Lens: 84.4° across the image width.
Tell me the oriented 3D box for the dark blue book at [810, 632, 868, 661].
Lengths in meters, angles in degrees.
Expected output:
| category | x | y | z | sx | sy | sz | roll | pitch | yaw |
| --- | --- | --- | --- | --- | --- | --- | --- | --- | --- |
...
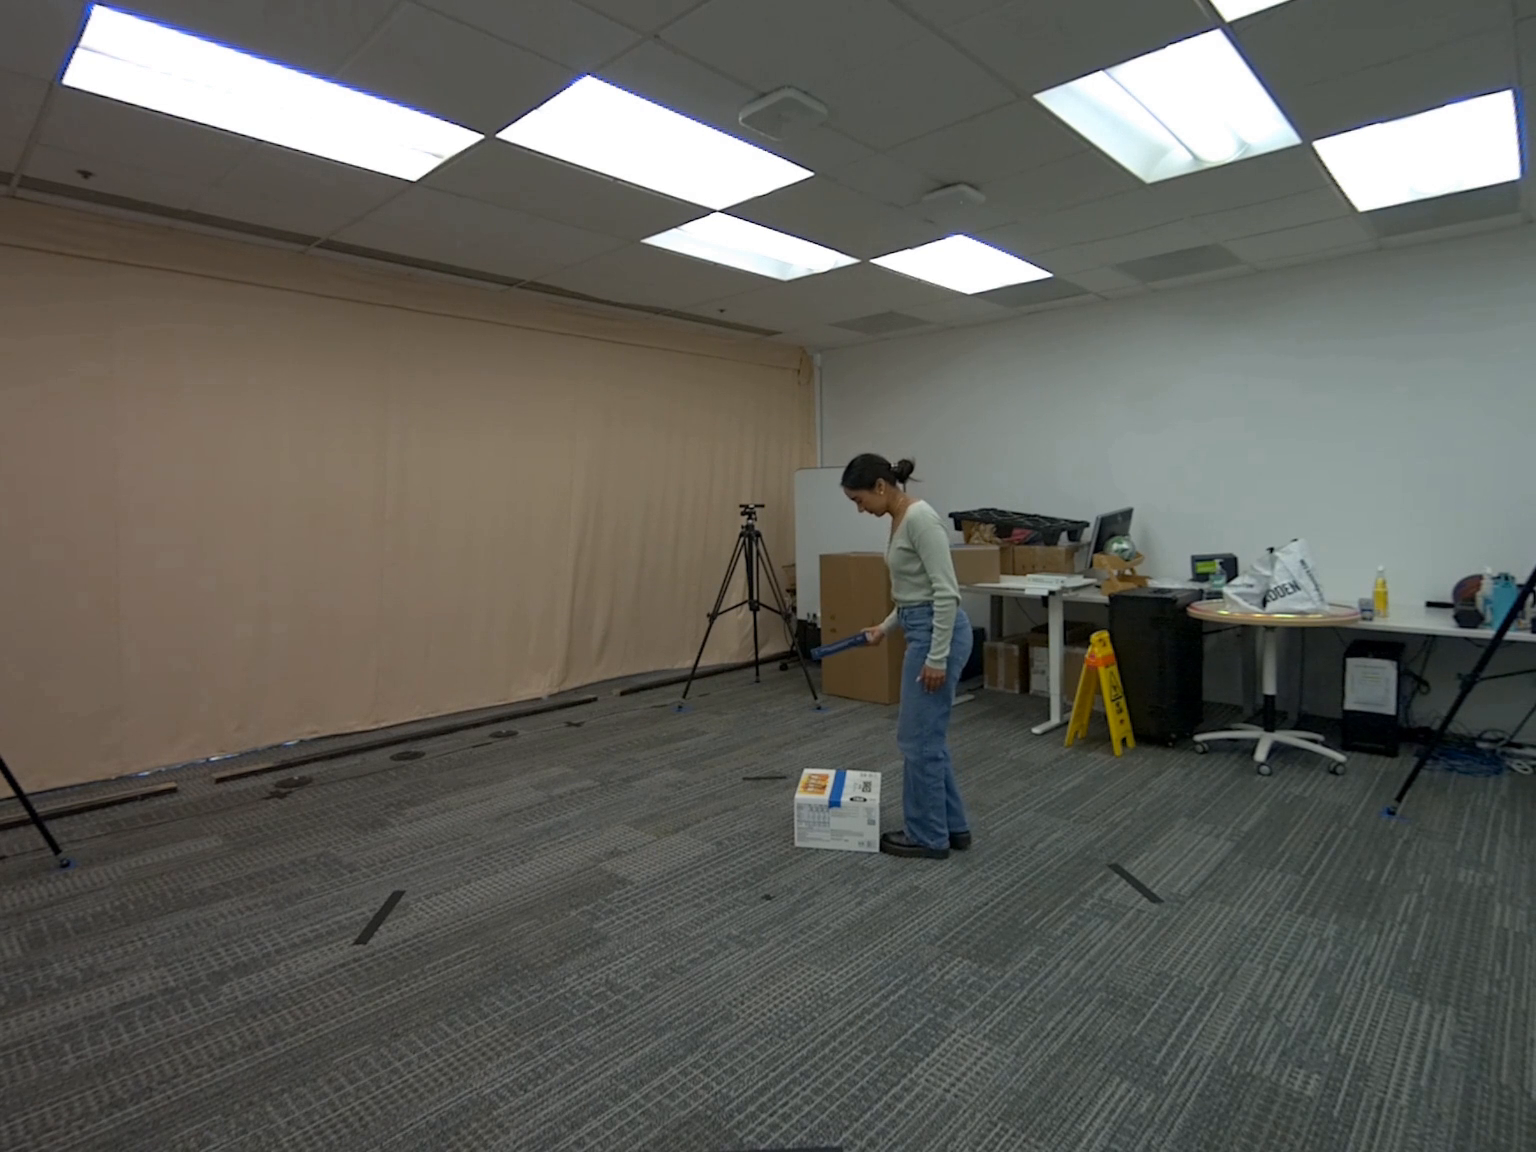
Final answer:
| category | x | y | z | sx | sy | sz | roll | pitch | yaw |
| --- | --- | --- | --- | --- | --- | --- | --- | --- | --- |
| dark blue book | 0.326 | 0.295 | 3.594 | 0.248 | 0.045 | 0.160 | -21 | -9 | 16 |
